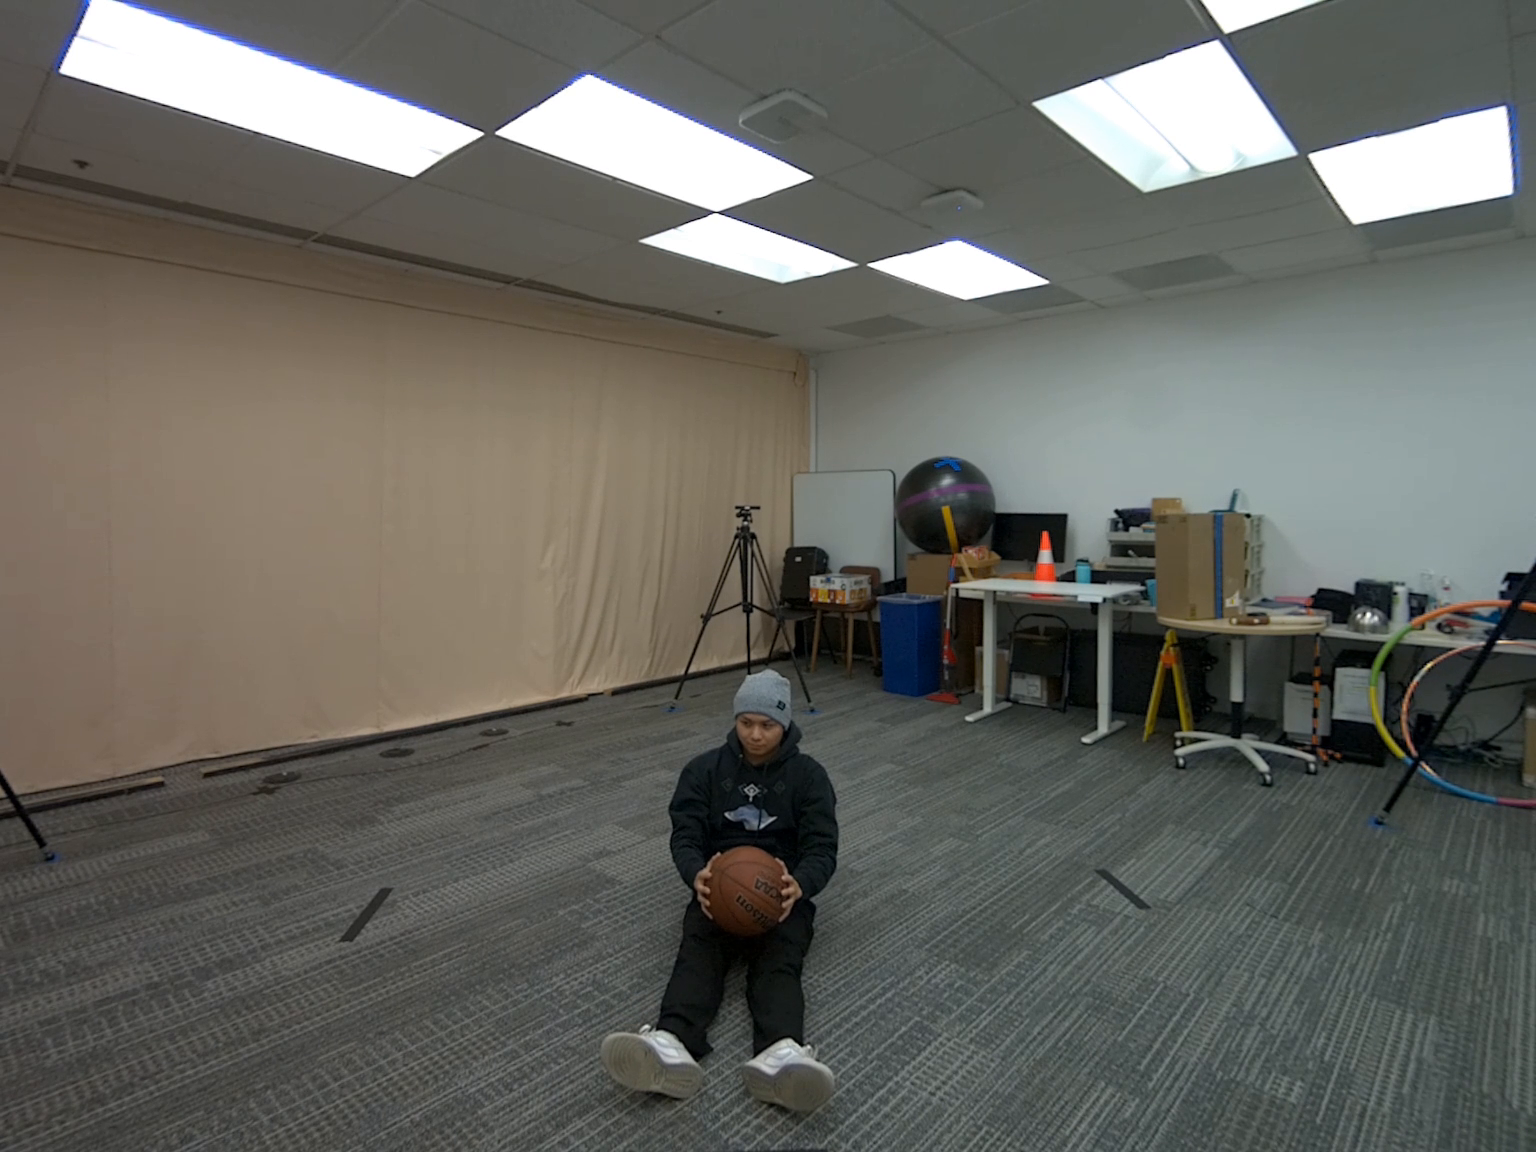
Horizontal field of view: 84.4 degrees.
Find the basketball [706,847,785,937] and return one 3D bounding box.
[{"bbox_3d":[-0.062,0.895,2.418,0.236,0.235,0.237,0,4,-2],"label":"basketball"}]
